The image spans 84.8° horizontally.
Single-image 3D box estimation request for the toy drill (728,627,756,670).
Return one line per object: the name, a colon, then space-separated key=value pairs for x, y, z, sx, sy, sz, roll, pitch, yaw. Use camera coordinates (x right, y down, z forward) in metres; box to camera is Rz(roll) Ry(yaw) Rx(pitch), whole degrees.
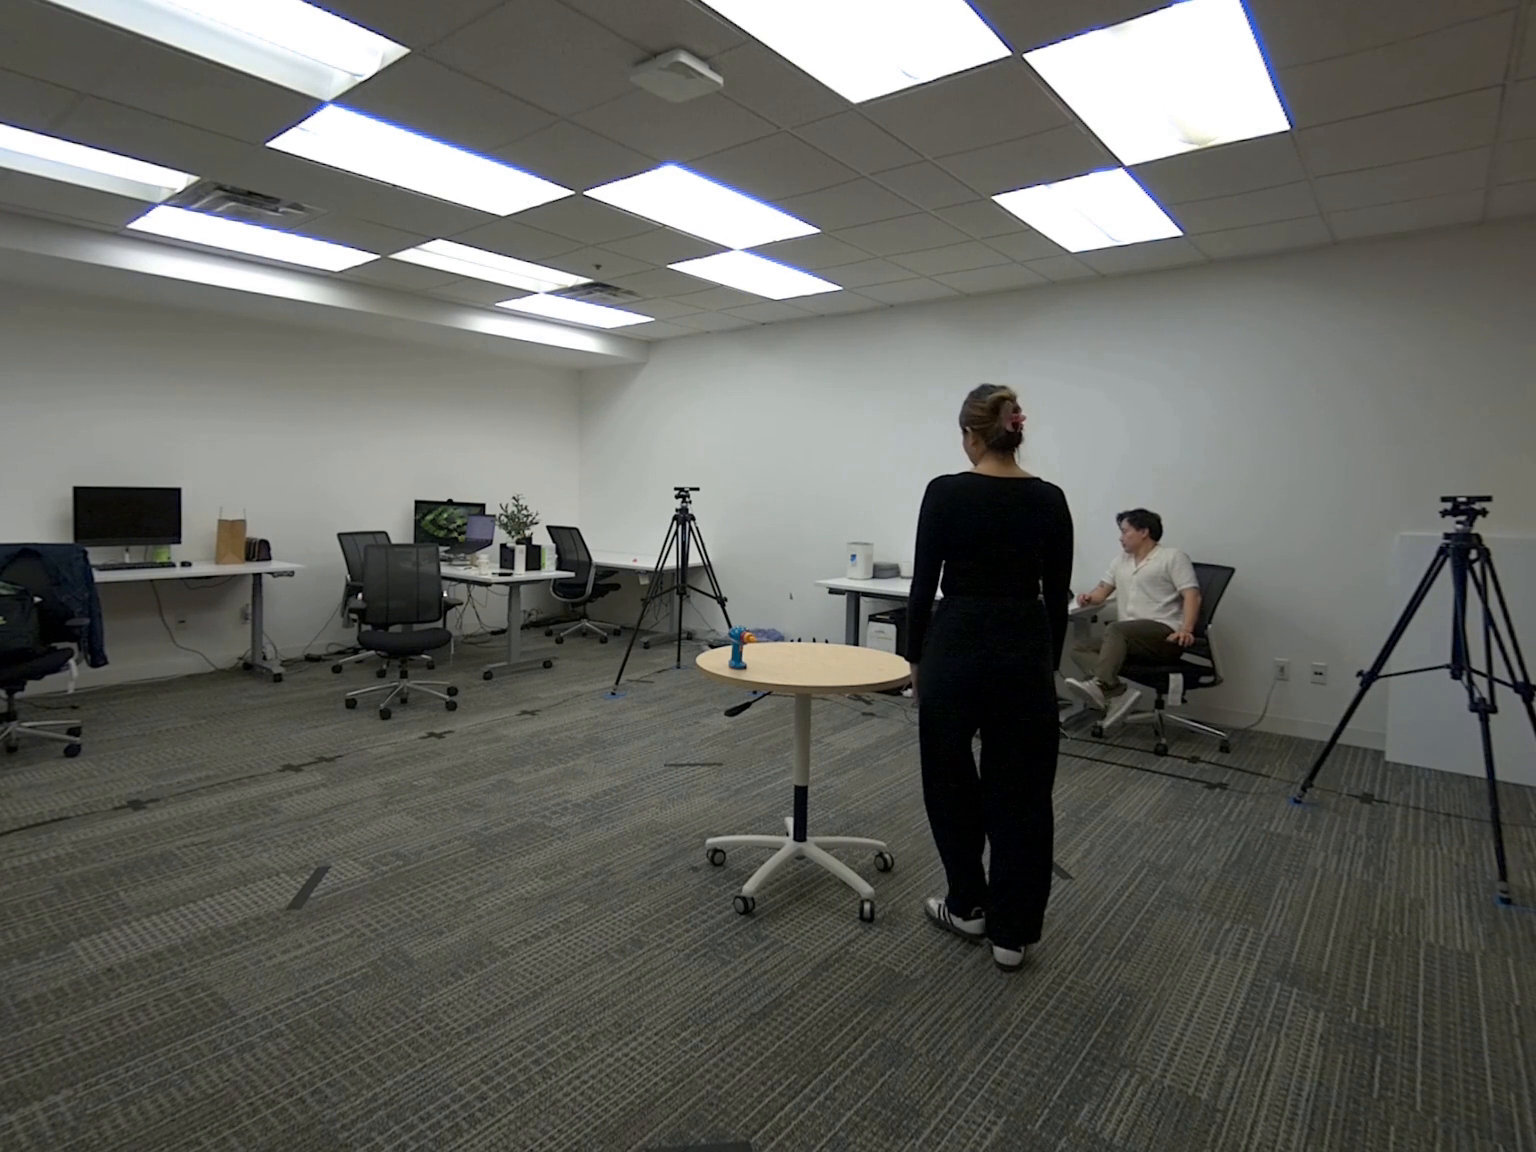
toy drill: x=-0.088 y=0.239 z=2.846 sx=0.059 sy=0.146 sz=0.175 roll=-2 pitch=4 yaw=-29
